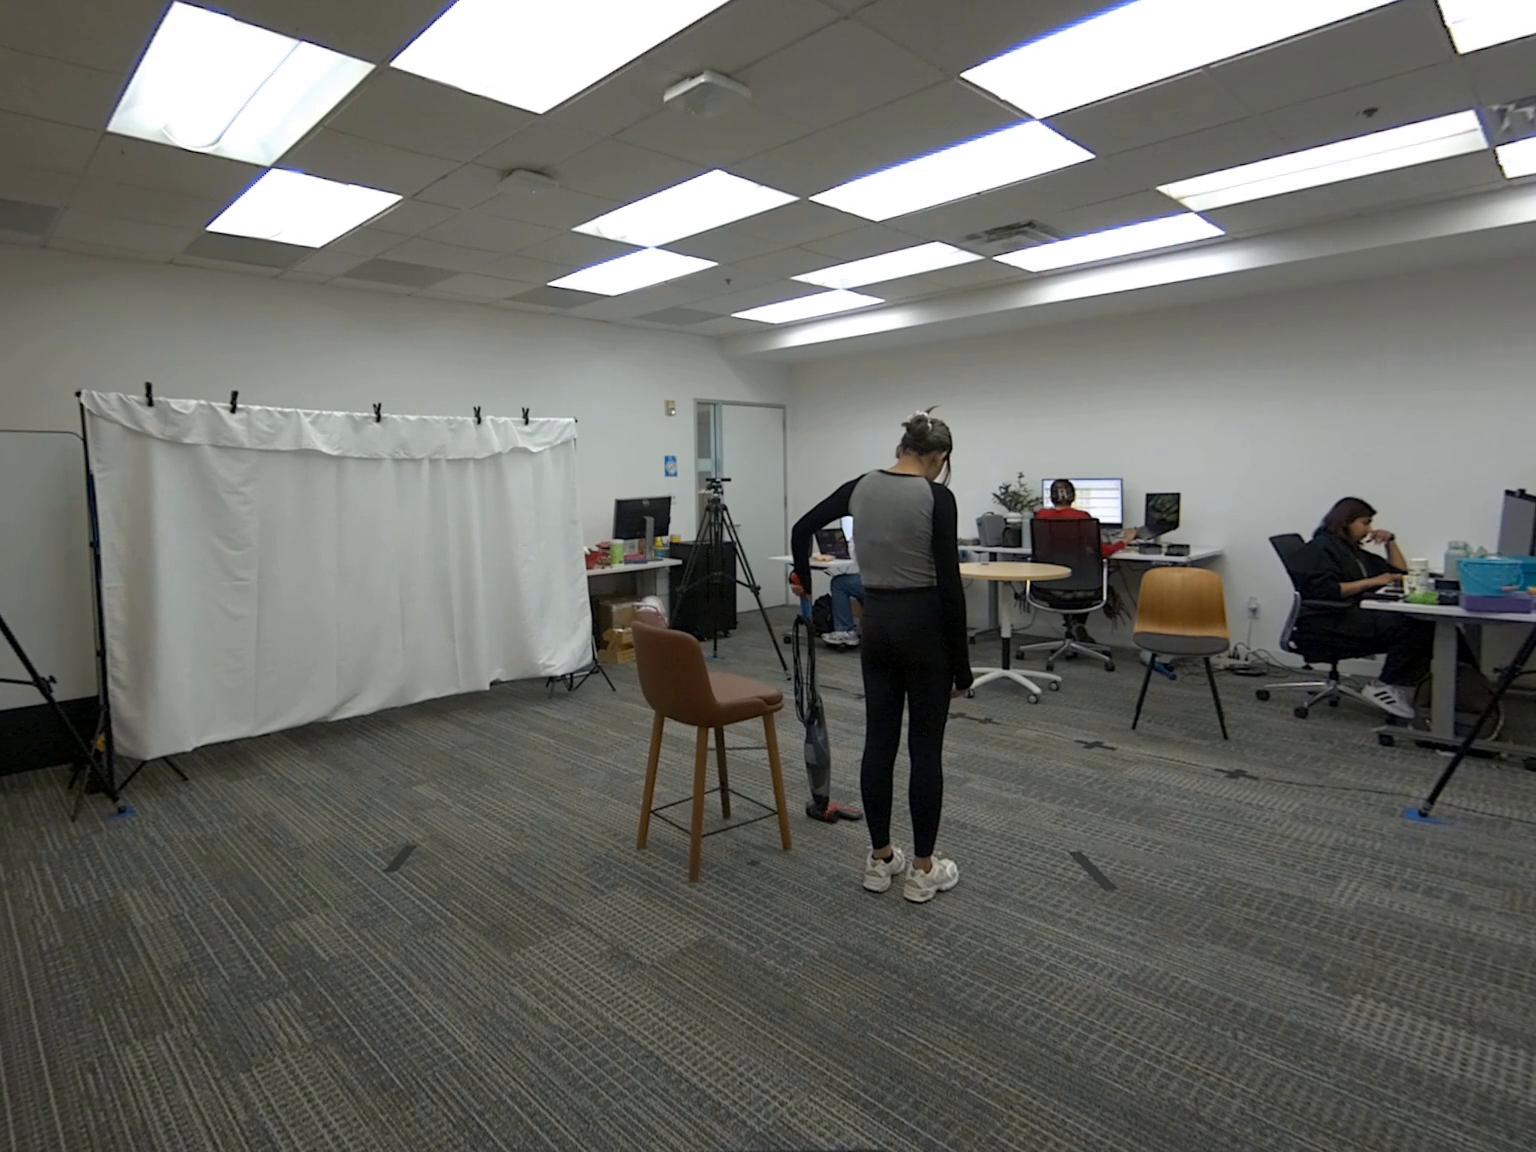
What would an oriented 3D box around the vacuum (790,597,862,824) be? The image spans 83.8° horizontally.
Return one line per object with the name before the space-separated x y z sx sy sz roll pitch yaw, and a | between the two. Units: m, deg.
vacuum | 0.174 0.500 3.414 0.260 1.034 0.141 4 19 42
